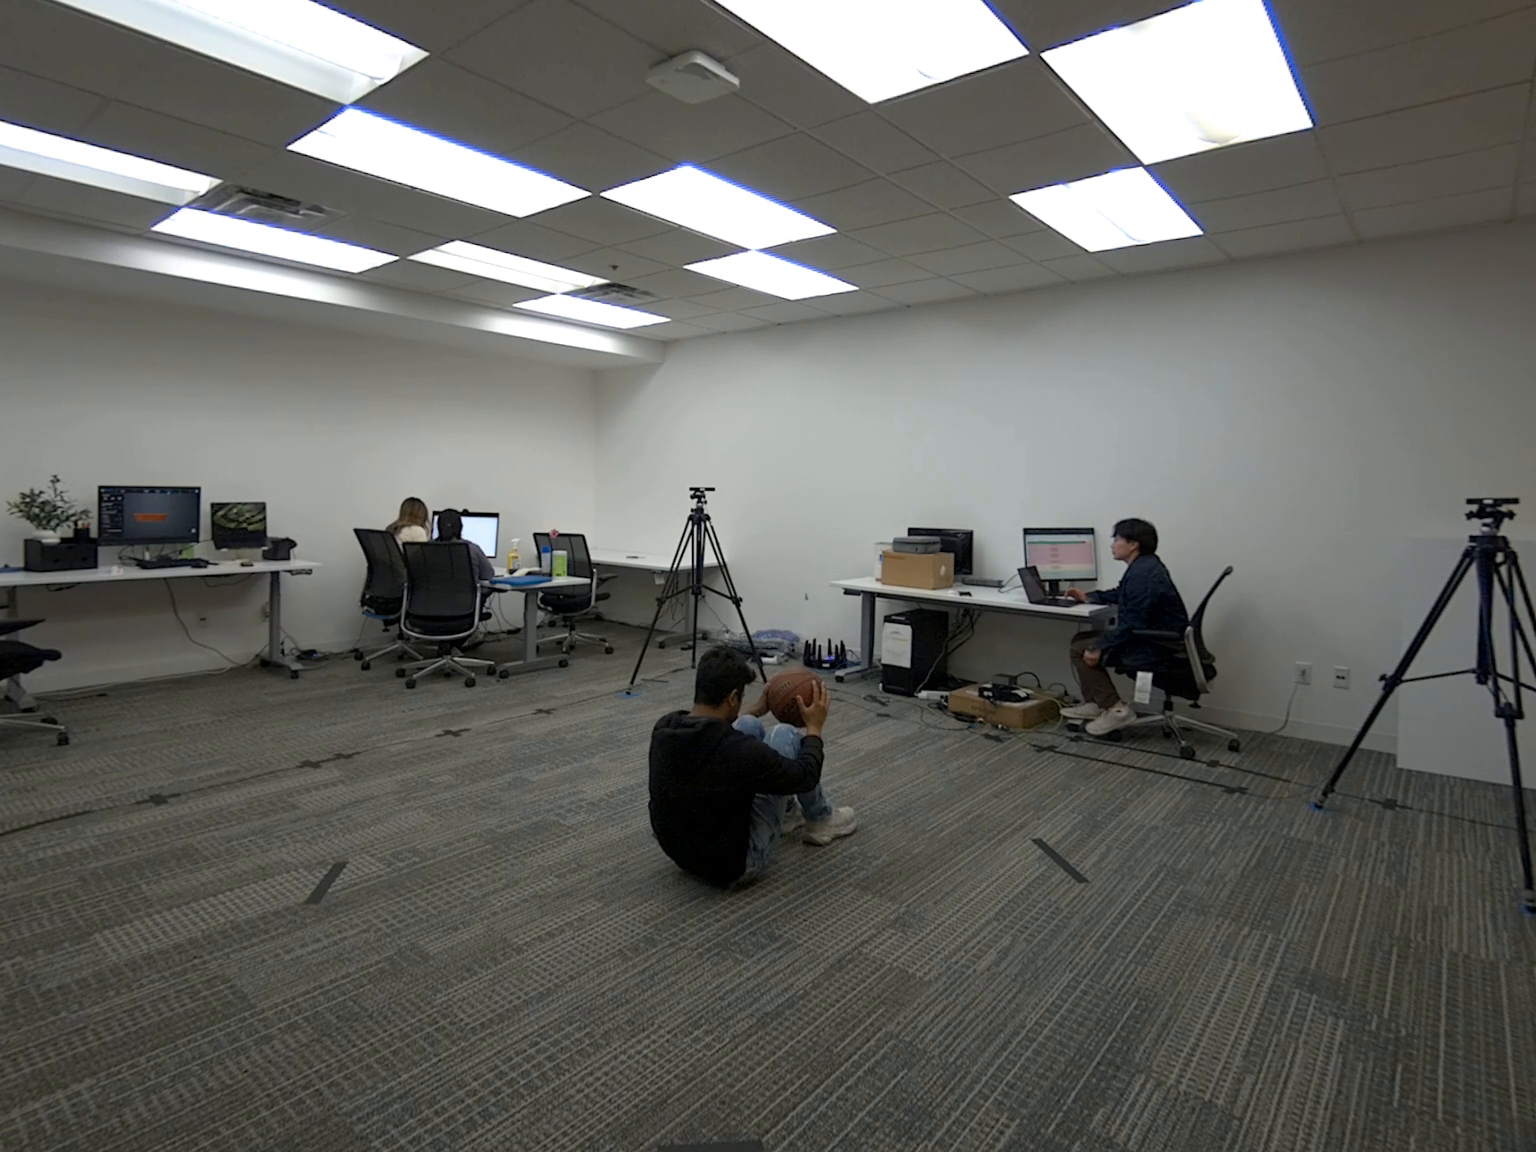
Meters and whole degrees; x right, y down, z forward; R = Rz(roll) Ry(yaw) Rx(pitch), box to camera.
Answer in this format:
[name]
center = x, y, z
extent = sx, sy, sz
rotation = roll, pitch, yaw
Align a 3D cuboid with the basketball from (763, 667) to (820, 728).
[basketball]
center = 0.102, 0.489, 3.388
extent = 0.235, 0.235, 0.237
rotation = 1, 4, -2
